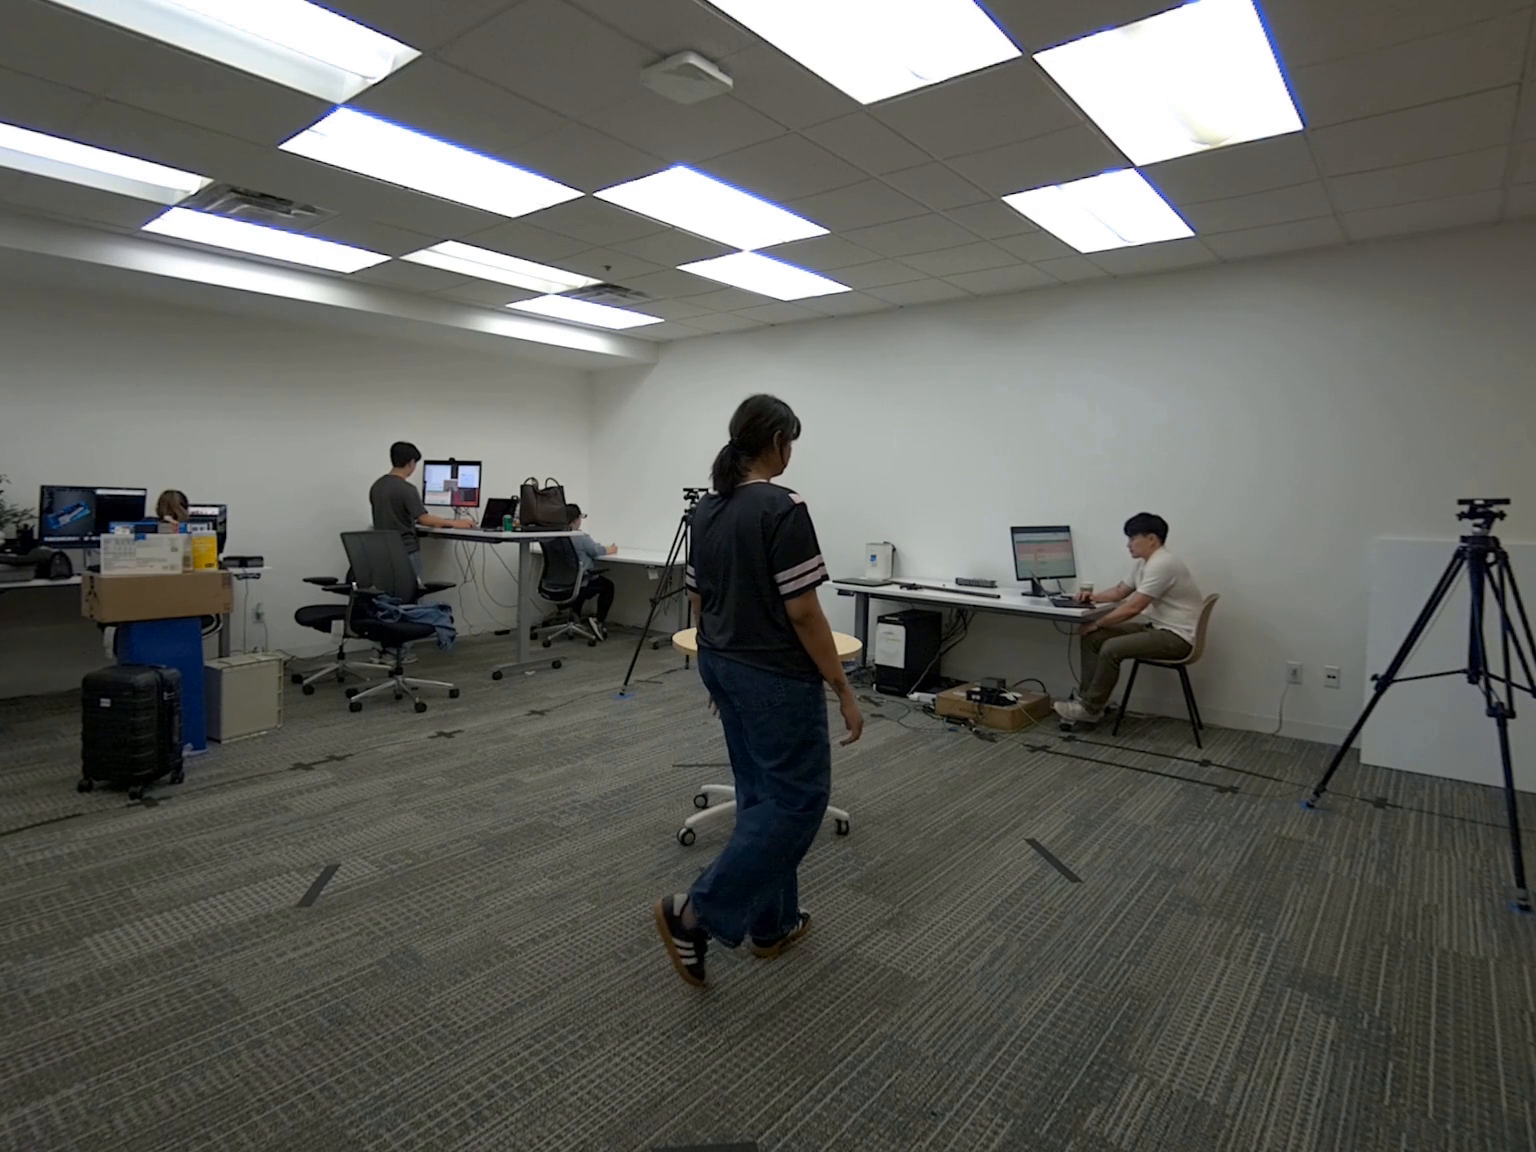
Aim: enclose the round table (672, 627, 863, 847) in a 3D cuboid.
[{"bbox_3d":[-0.025,0.644,3.482,0.763,0.791,0.768,1,4,-2],"label":"round table"}]
